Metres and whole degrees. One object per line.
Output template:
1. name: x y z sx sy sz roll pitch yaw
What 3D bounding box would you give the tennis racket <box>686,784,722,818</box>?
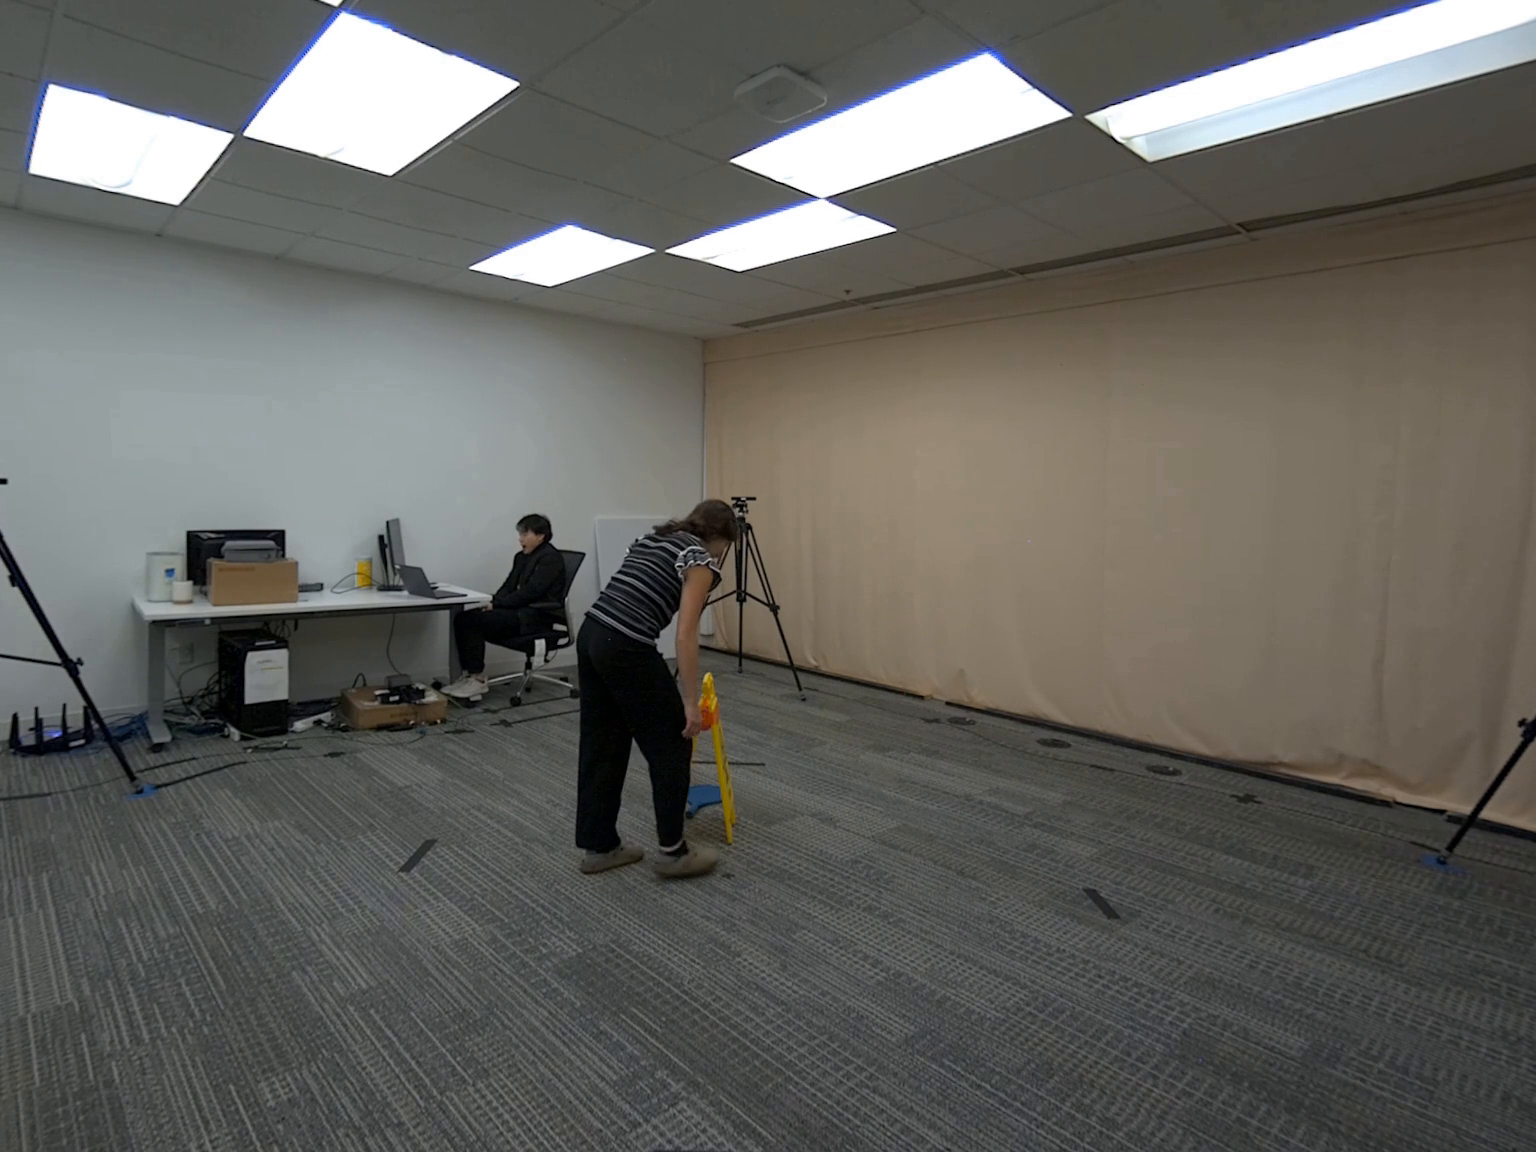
1. tennis racket: -0.316 1.026 3.864 0.216 0.032 0.430 2 3 10
